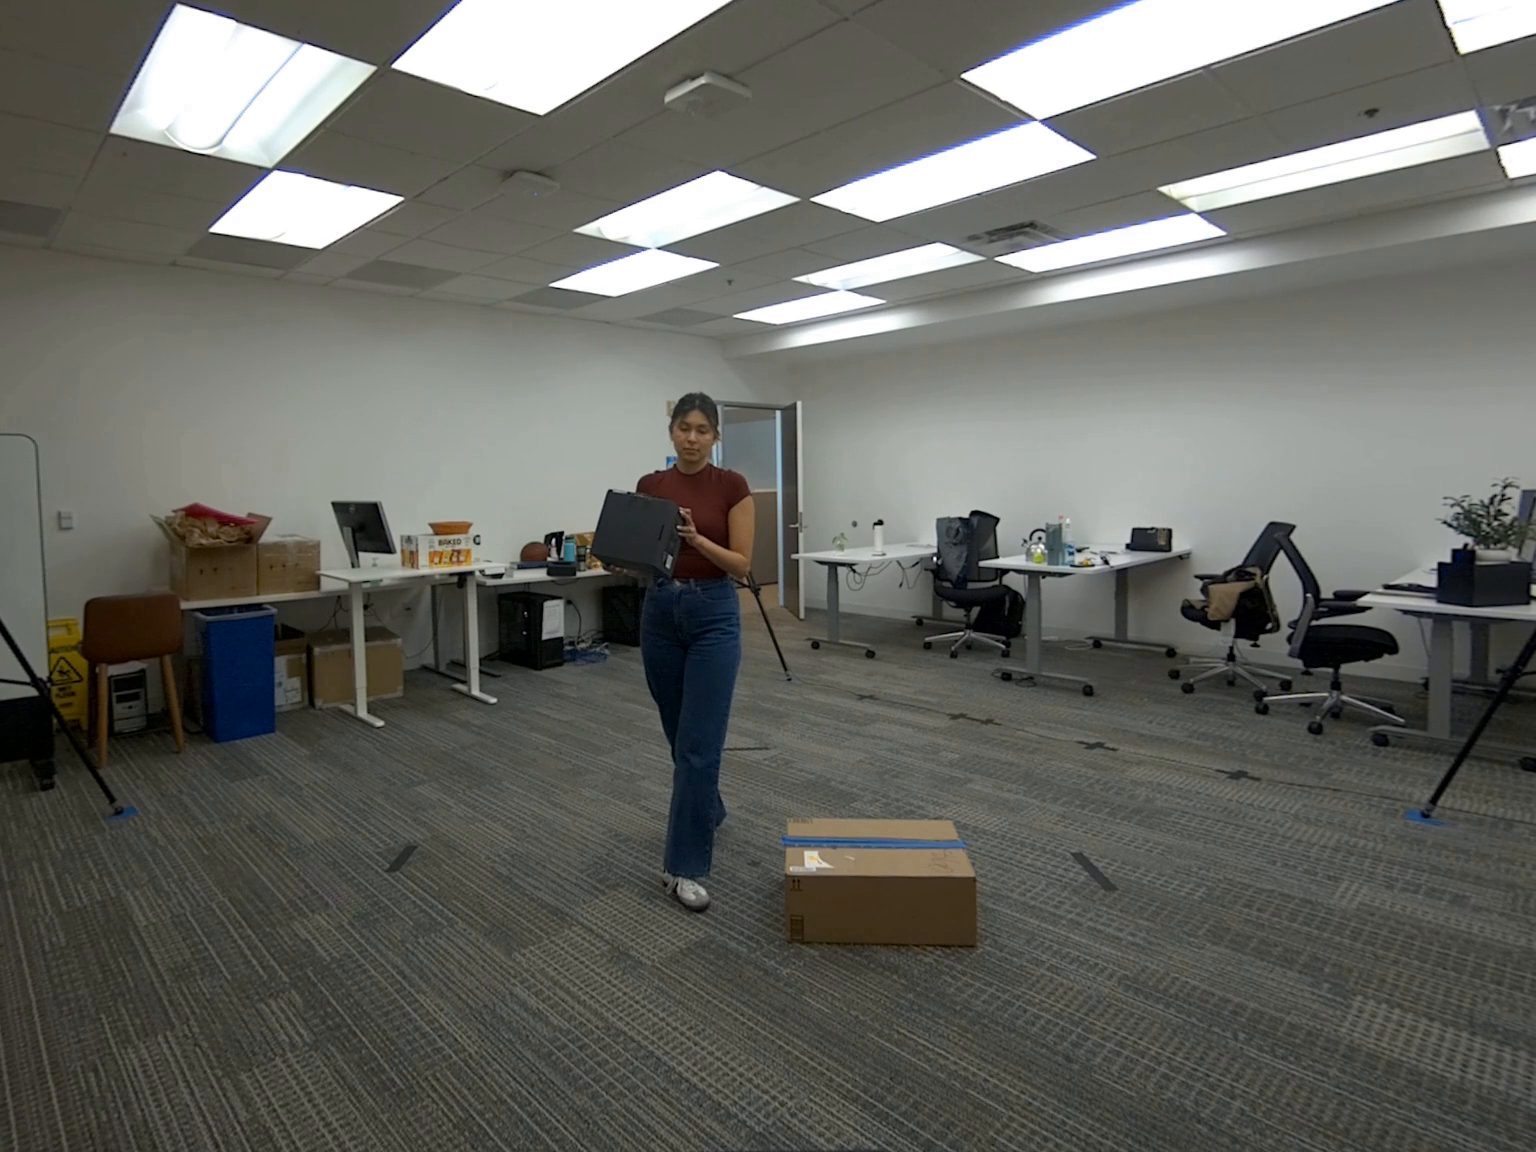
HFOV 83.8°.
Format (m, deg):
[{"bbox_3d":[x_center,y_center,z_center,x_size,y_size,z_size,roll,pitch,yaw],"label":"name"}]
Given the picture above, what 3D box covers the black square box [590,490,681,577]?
[{"bbox_3d":[-0.412,-0.137,2.701,0.232,0.219,0.151,8,-14,16],"label":"black square box"}]
